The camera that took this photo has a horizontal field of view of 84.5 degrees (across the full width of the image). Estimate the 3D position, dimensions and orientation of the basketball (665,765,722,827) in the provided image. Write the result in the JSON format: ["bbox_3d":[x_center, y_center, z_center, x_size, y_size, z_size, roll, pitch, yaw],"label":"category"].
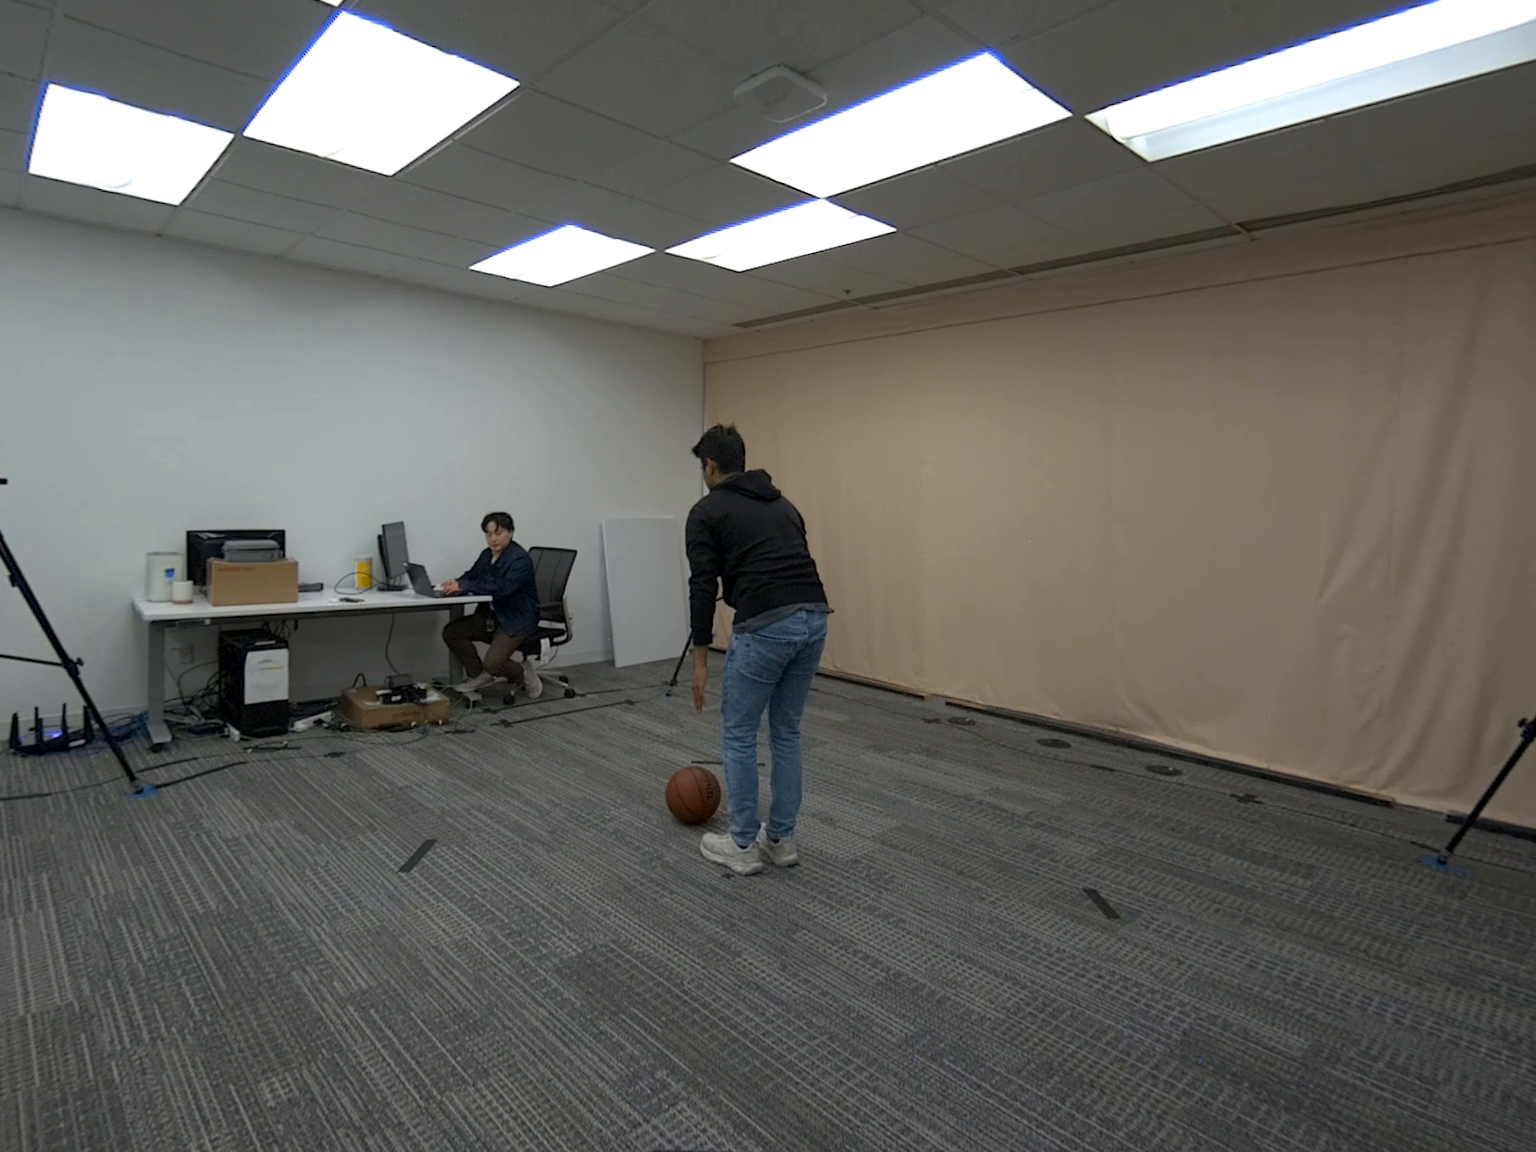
[{"bbox_3d":[-0.331,0.937,3.617,0.236,0.235,0.237,1,4,-1],"label":"basketball"}]
